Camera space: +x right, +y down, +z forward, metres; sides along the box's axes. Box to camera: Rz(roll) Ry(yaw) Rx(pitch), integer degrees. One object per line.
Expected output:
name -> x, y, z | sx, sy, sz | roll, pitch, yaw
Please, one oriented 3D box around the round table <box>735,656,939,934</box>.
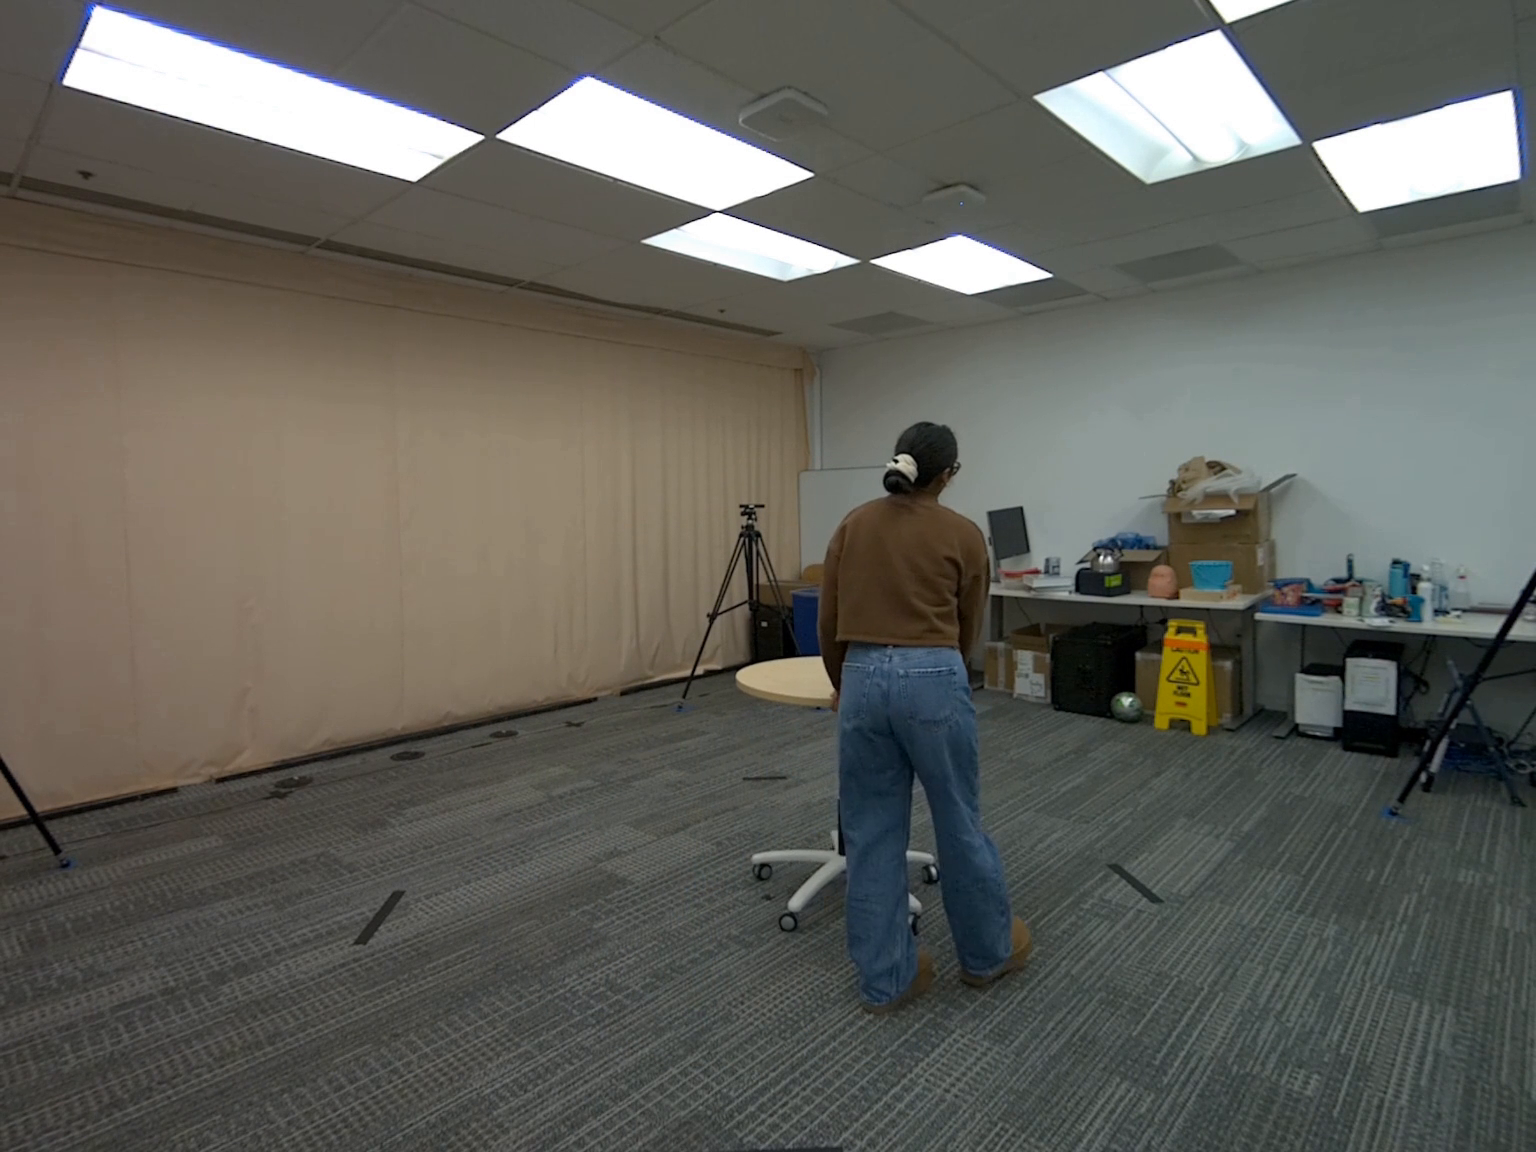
round table -> 0.281, 0.738, 3.002 | 0.784, 0.784, 0.788 | -1, 4, -2
